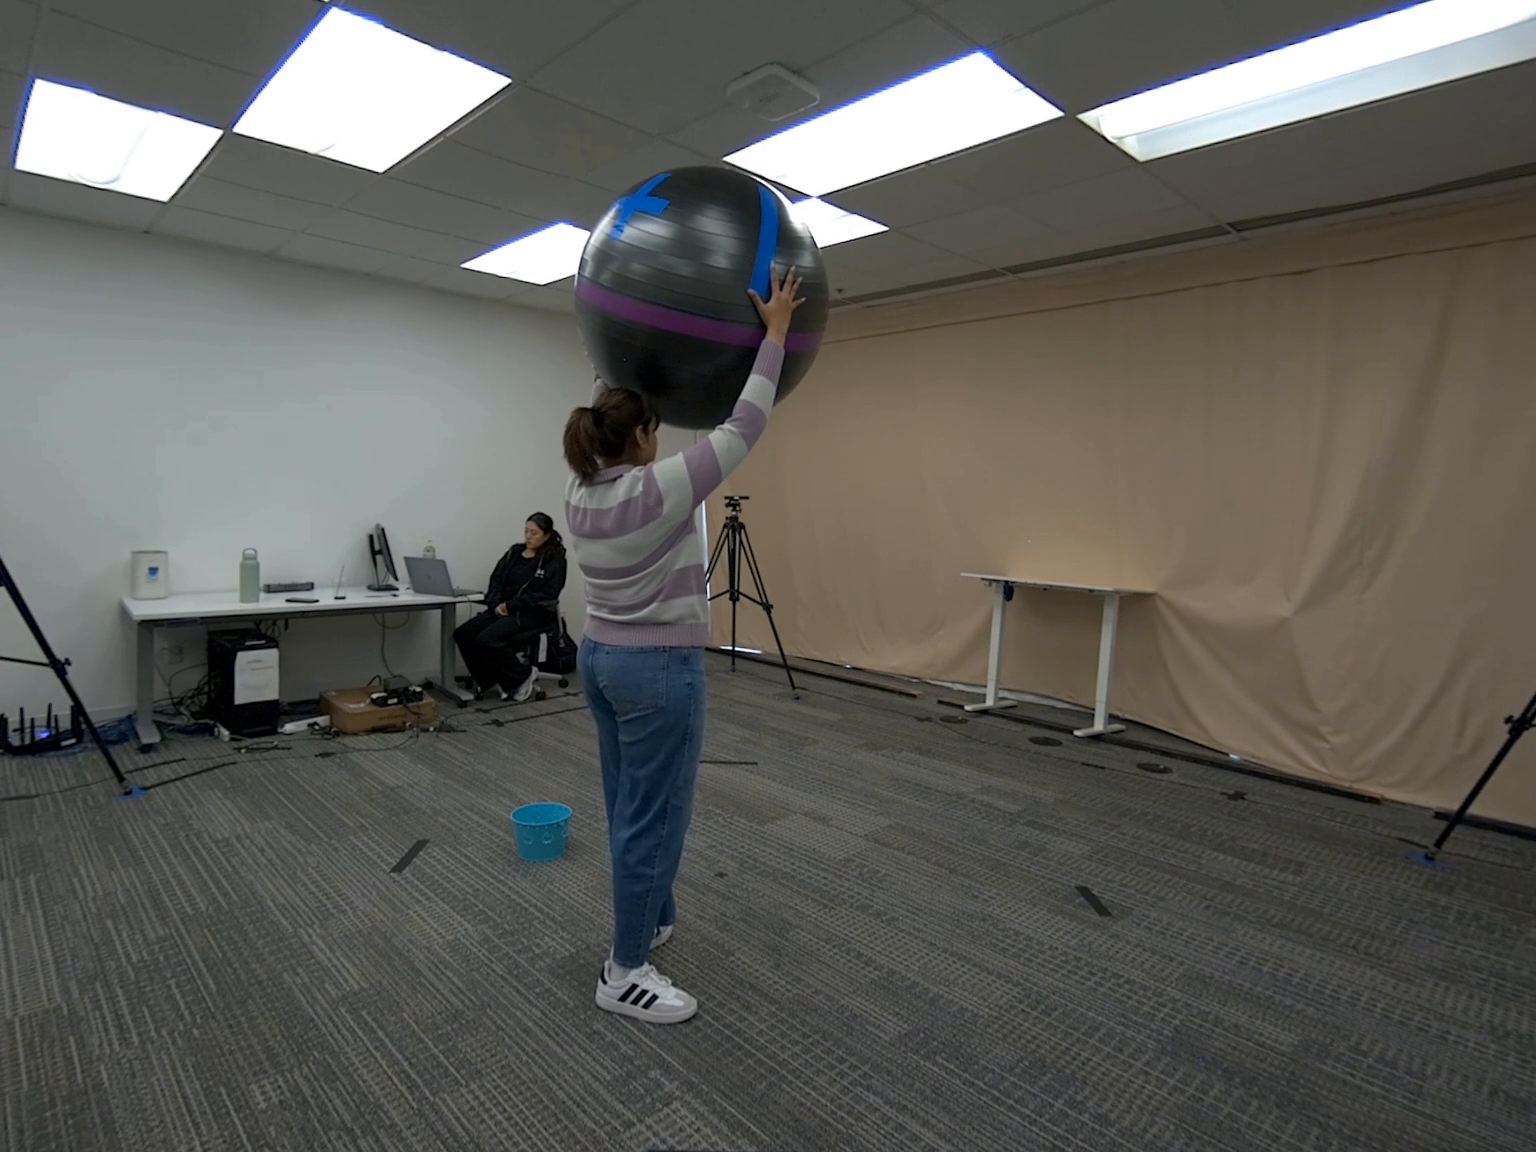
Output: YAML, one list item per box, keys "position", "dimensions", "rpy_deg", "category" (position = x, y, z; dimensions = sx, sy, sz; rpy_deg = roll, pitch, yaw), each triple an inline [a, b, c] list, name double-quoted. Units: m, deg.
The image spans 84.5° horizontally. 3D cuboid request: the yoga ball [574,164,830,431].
- position: [-0.201, -0.818, 2.533]
  dimensions: [0.757, 0.756, 0.761]
  rpy_deg: [1, 4, -1]
  category: "yoga ball"
